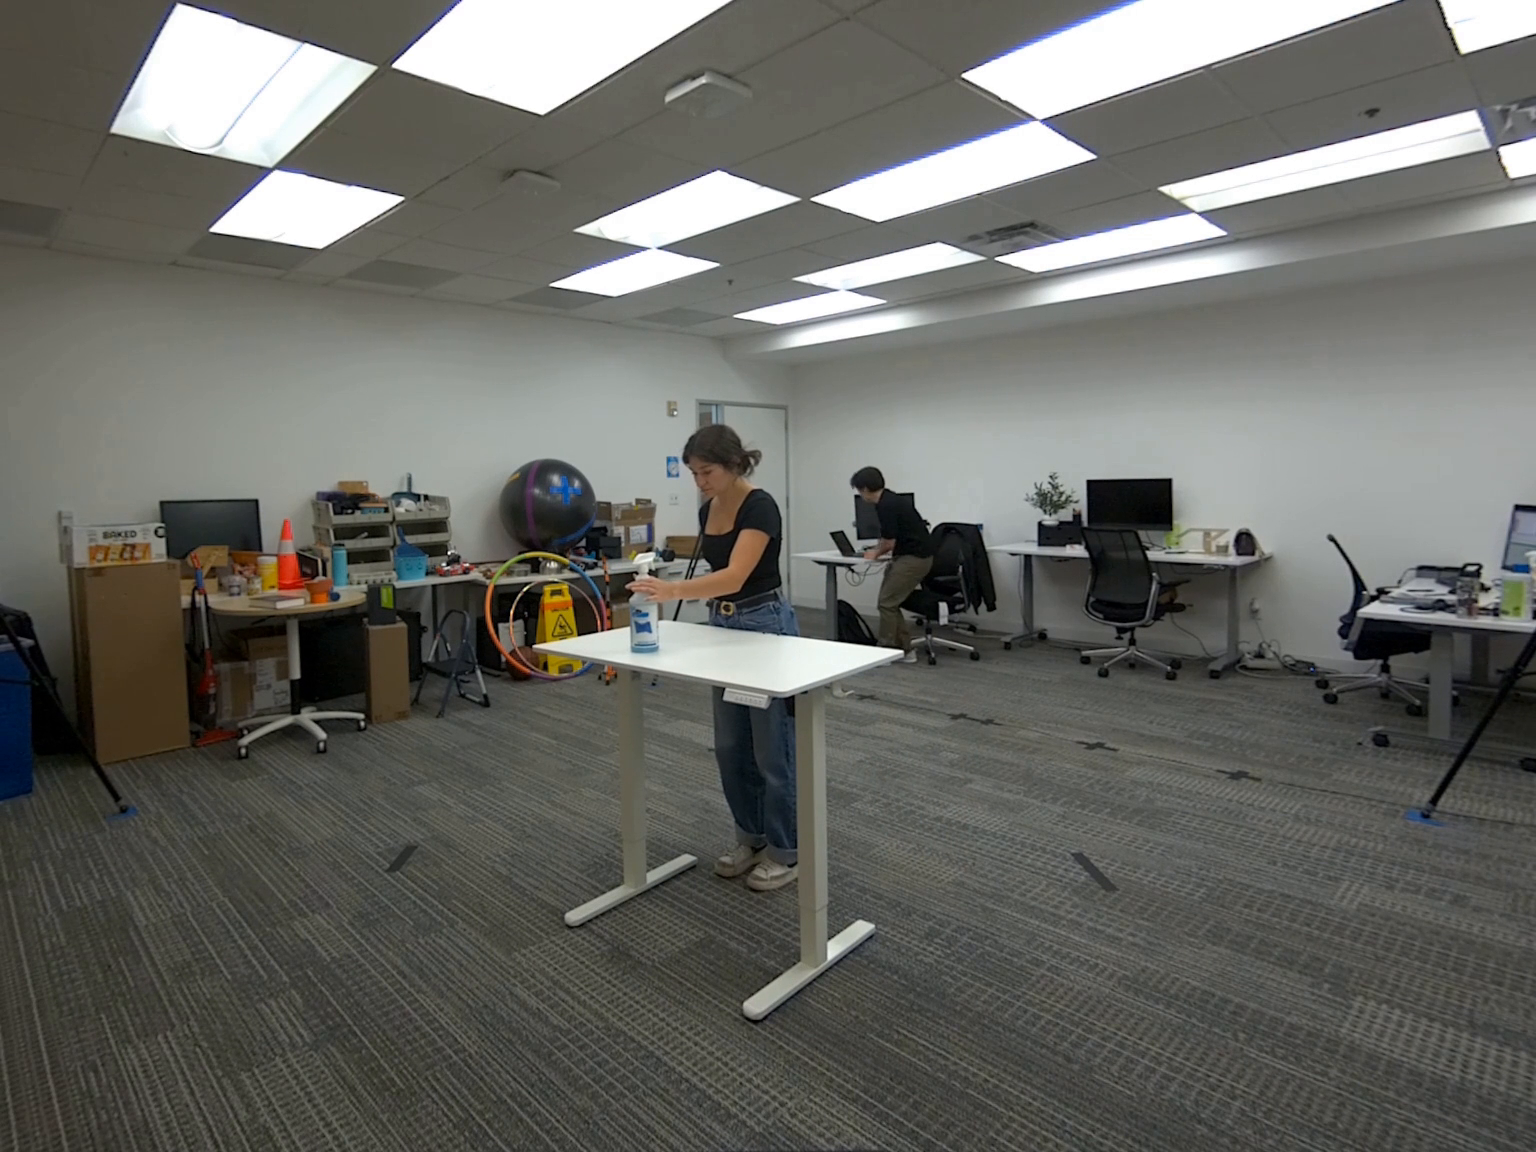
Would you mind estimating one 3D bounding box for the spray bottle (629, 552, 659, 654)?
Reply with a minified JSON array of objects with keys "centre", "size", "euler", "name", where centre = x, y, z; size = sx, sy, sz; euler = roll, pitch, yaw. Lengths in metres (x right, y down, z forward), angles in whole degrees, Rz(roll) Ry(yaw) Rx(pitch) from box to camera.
[{"centre":[-0.378,0.082,2.592],"size":[0.088,0.296,0.089],"euler":[-1,4,-27],"name":"spray bottle"}]
